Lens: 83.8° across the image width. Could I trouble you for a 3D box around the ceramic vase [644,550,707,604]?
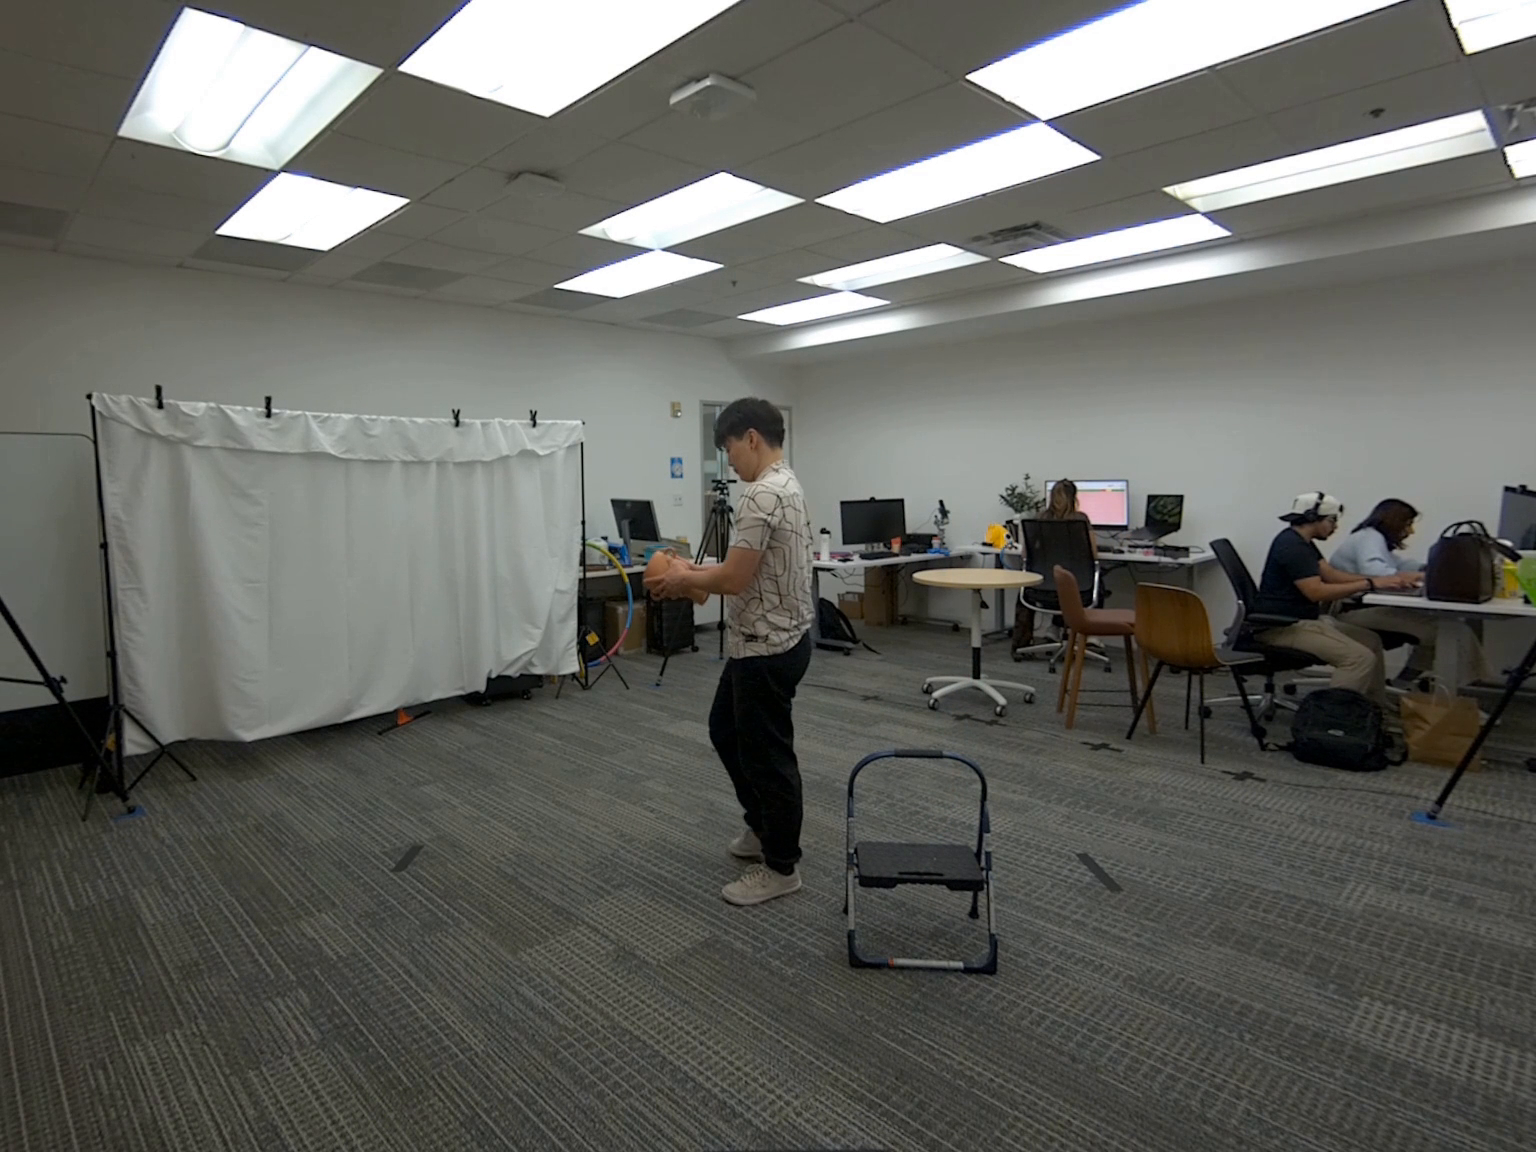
[{"bbox_3d":[-0.309,0.013,2.953,0.223,0.135,0.155,23,-36,12],"label":"ceramic vase"}]
